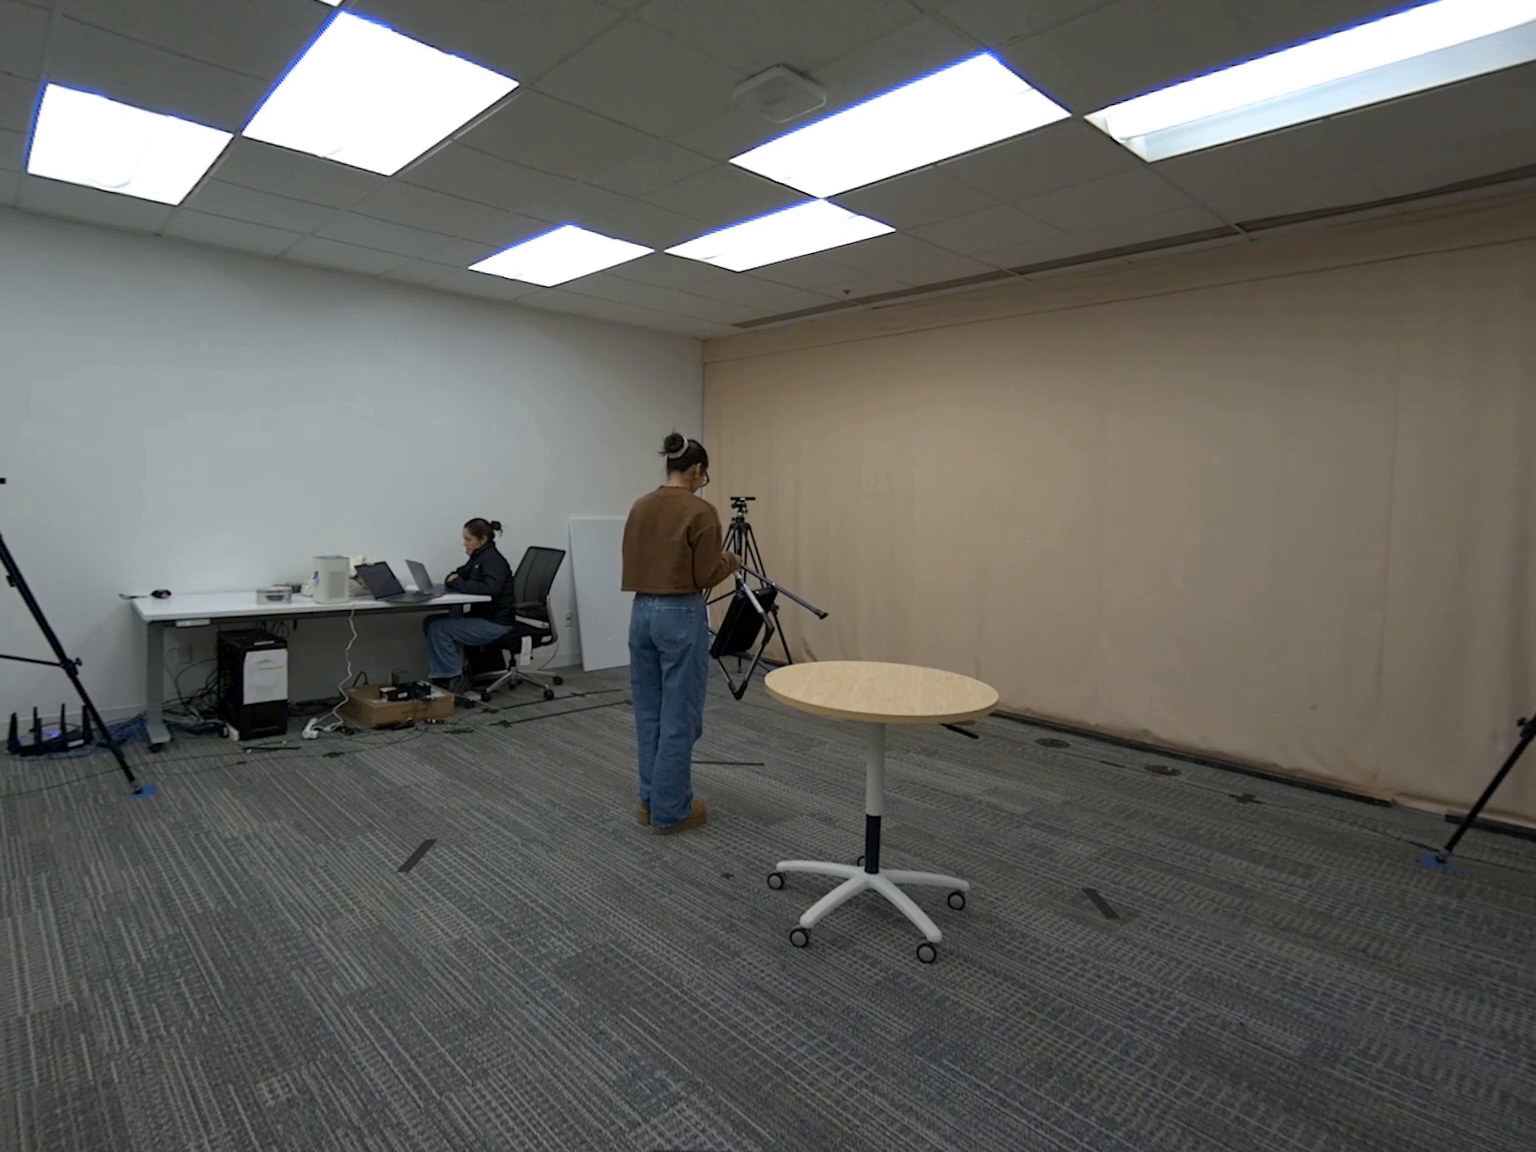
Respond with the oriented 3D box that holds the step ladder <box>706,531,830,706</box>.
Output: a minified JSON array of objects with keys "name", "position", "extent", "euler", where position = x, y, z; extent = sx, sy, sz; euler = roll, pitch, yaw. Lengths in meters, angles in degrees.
[{"name":"step ladder","position":[-0.131,0.168,3.758],"extent":[0.342,0.427,0.624],"euler":[-9,45,-44]}]
